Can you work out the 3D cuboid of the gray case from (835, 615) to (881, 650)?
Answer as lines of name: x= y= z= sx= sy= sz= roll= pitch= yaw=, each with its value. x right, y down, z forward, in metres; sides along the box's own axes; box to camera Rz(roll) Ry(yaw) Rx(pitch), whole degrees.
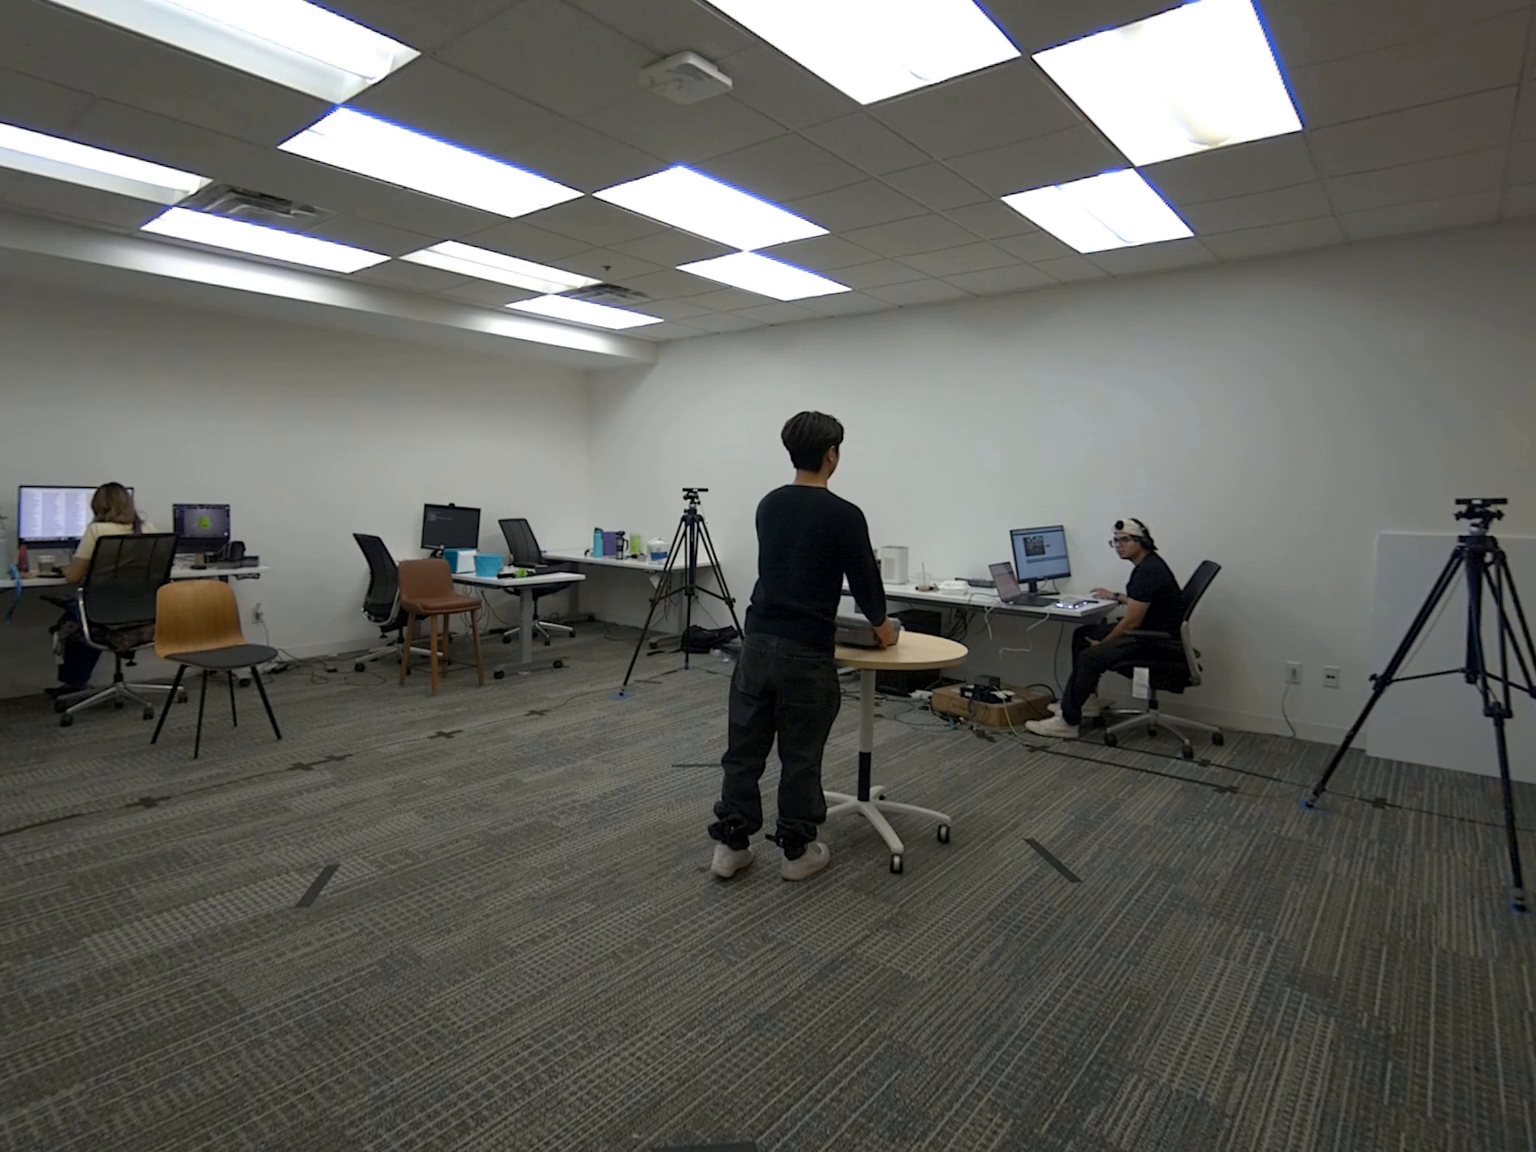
gray case: x=0.379 y=0.211 z=3.424 sx=0.265 sy=0.104 sz=0.252 roll=7 pitch=3 yaw=36
